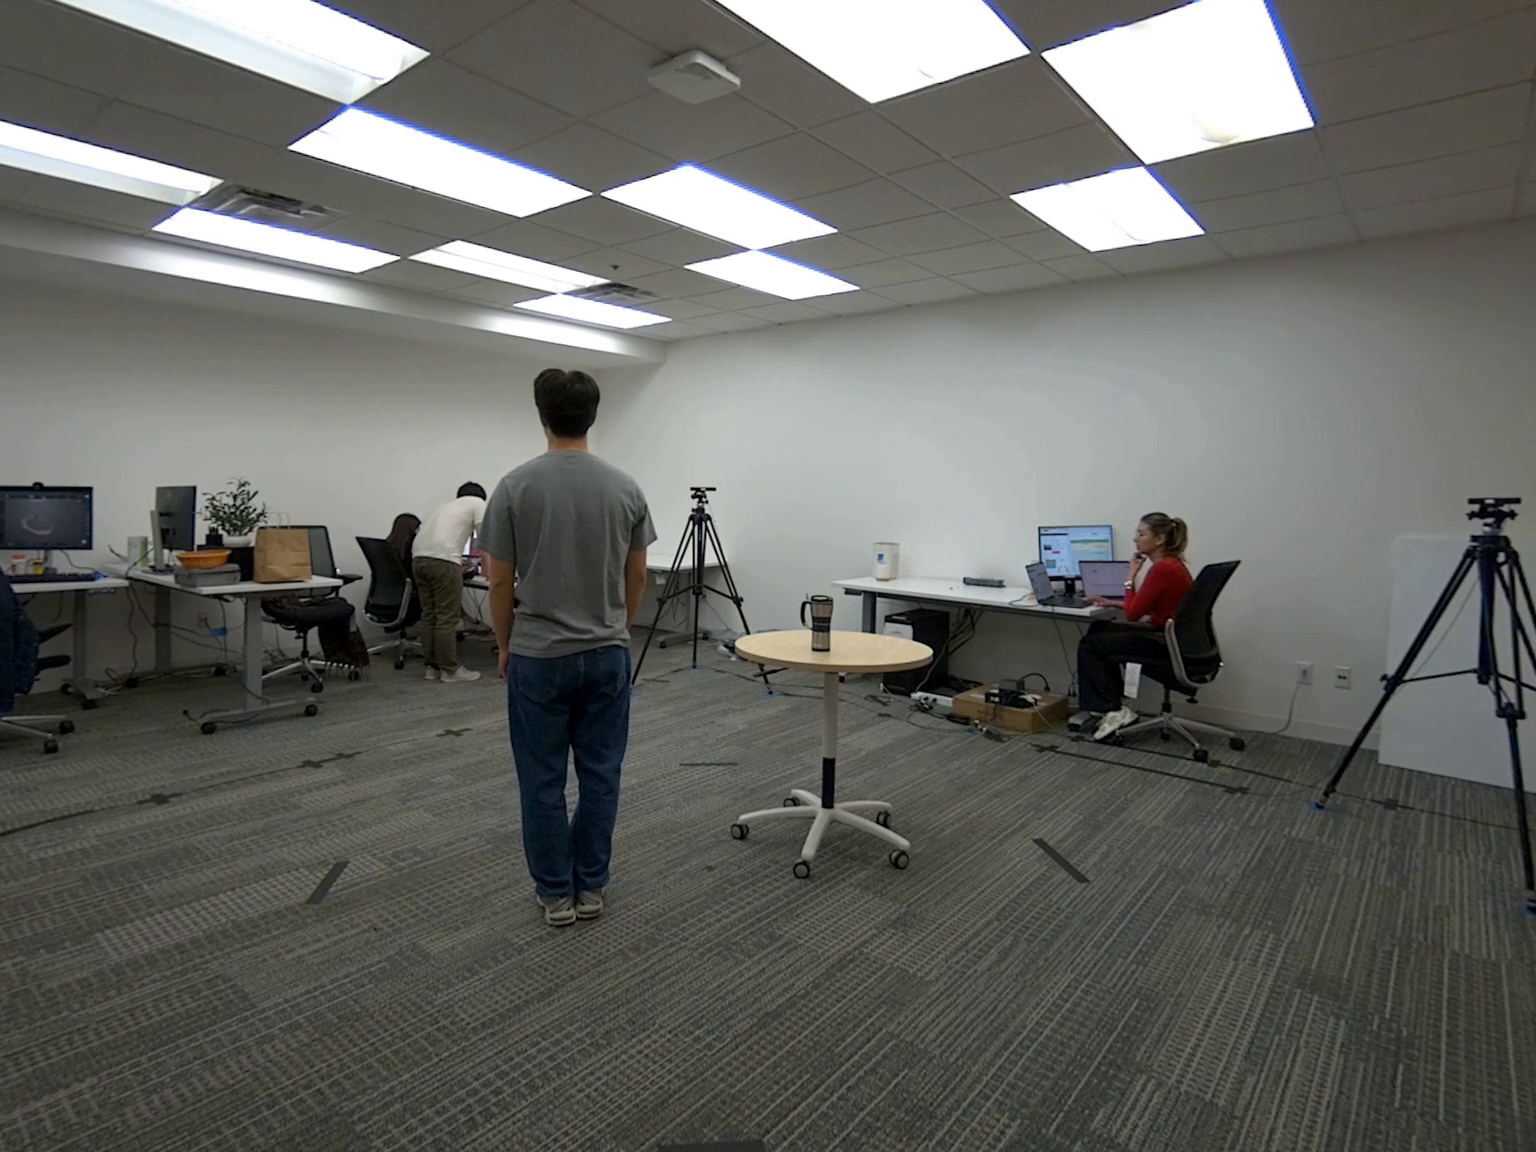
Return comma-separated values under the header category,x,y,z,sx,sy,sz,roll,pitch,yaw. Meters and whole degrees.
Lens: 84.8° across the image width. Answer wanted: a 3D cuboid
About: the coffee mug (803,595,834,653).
category,x,y,z,sx,sy,sz,roll,pitch,yaw
coffee mug,0.180,0.179,3.246,0.126,0.202,0.085,7,9,43
